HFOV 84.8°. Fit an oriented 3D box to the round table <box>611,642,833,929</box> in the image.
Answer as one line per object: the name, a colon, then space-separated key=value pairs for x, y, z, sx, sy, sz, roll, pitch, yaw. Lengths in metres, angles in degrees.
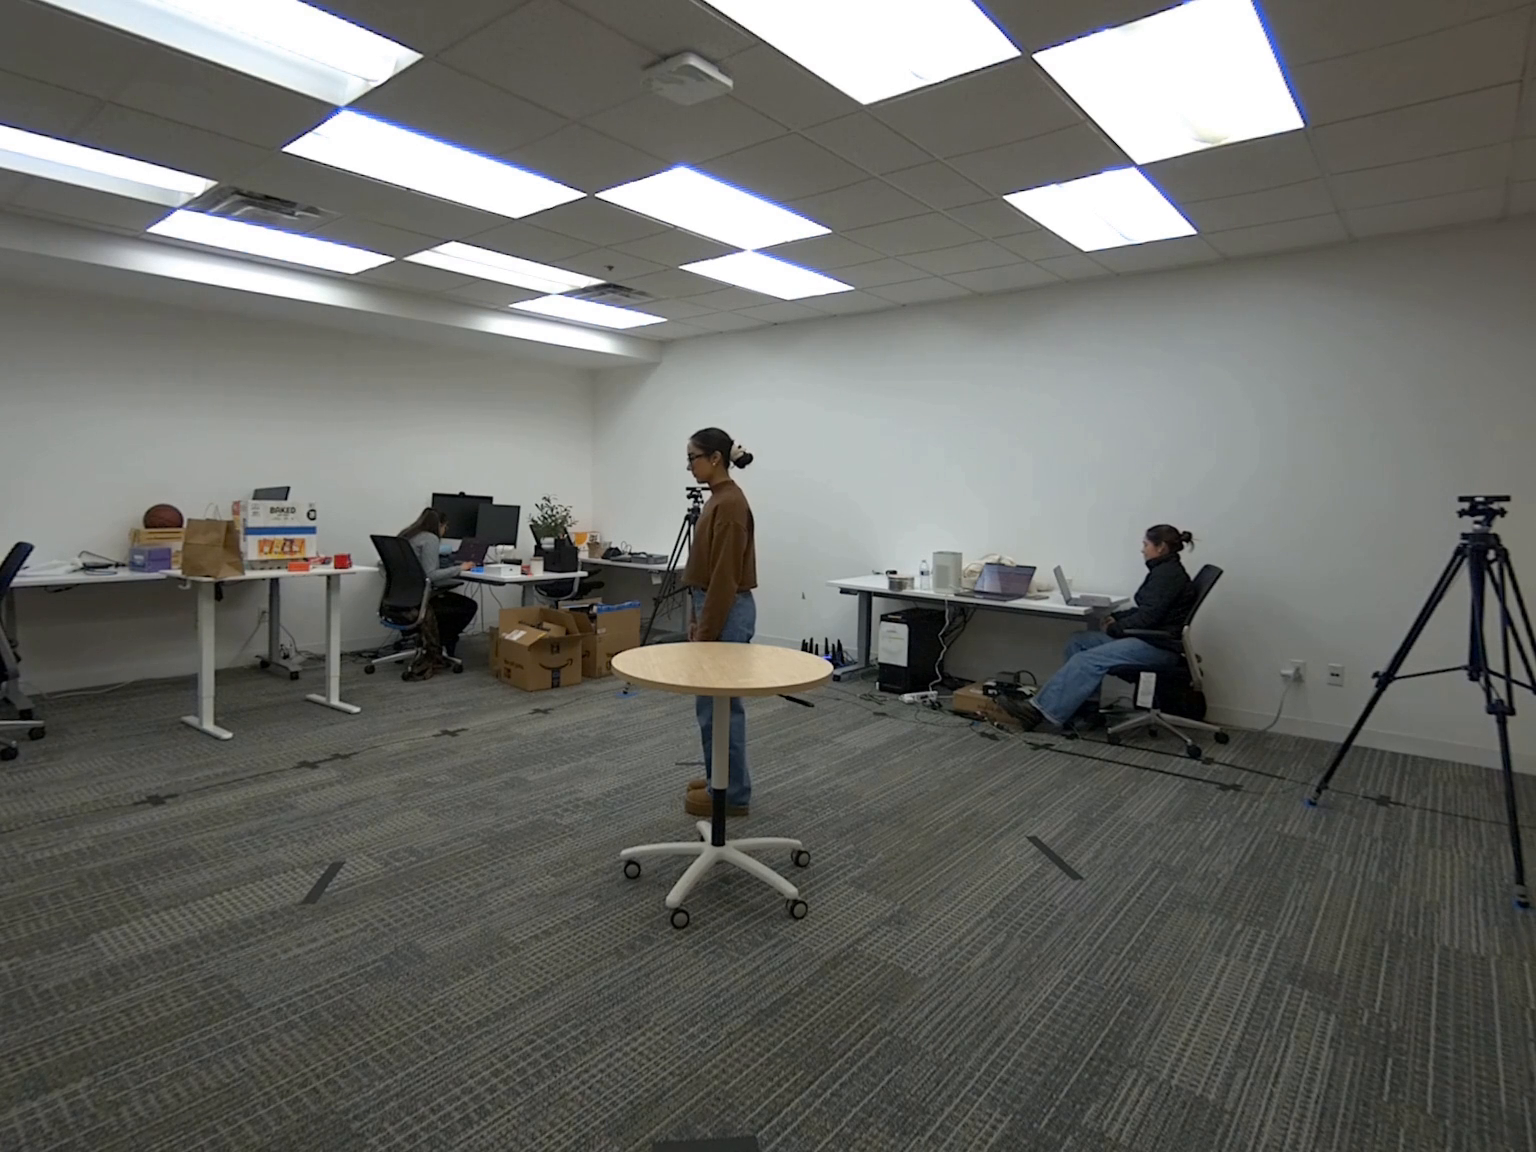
round table: x=-0.168 y=0.689 z=2.977 sx=0.763 sy=0.791 sz=0.768 roll=1 pitch=4 yaw=-2
